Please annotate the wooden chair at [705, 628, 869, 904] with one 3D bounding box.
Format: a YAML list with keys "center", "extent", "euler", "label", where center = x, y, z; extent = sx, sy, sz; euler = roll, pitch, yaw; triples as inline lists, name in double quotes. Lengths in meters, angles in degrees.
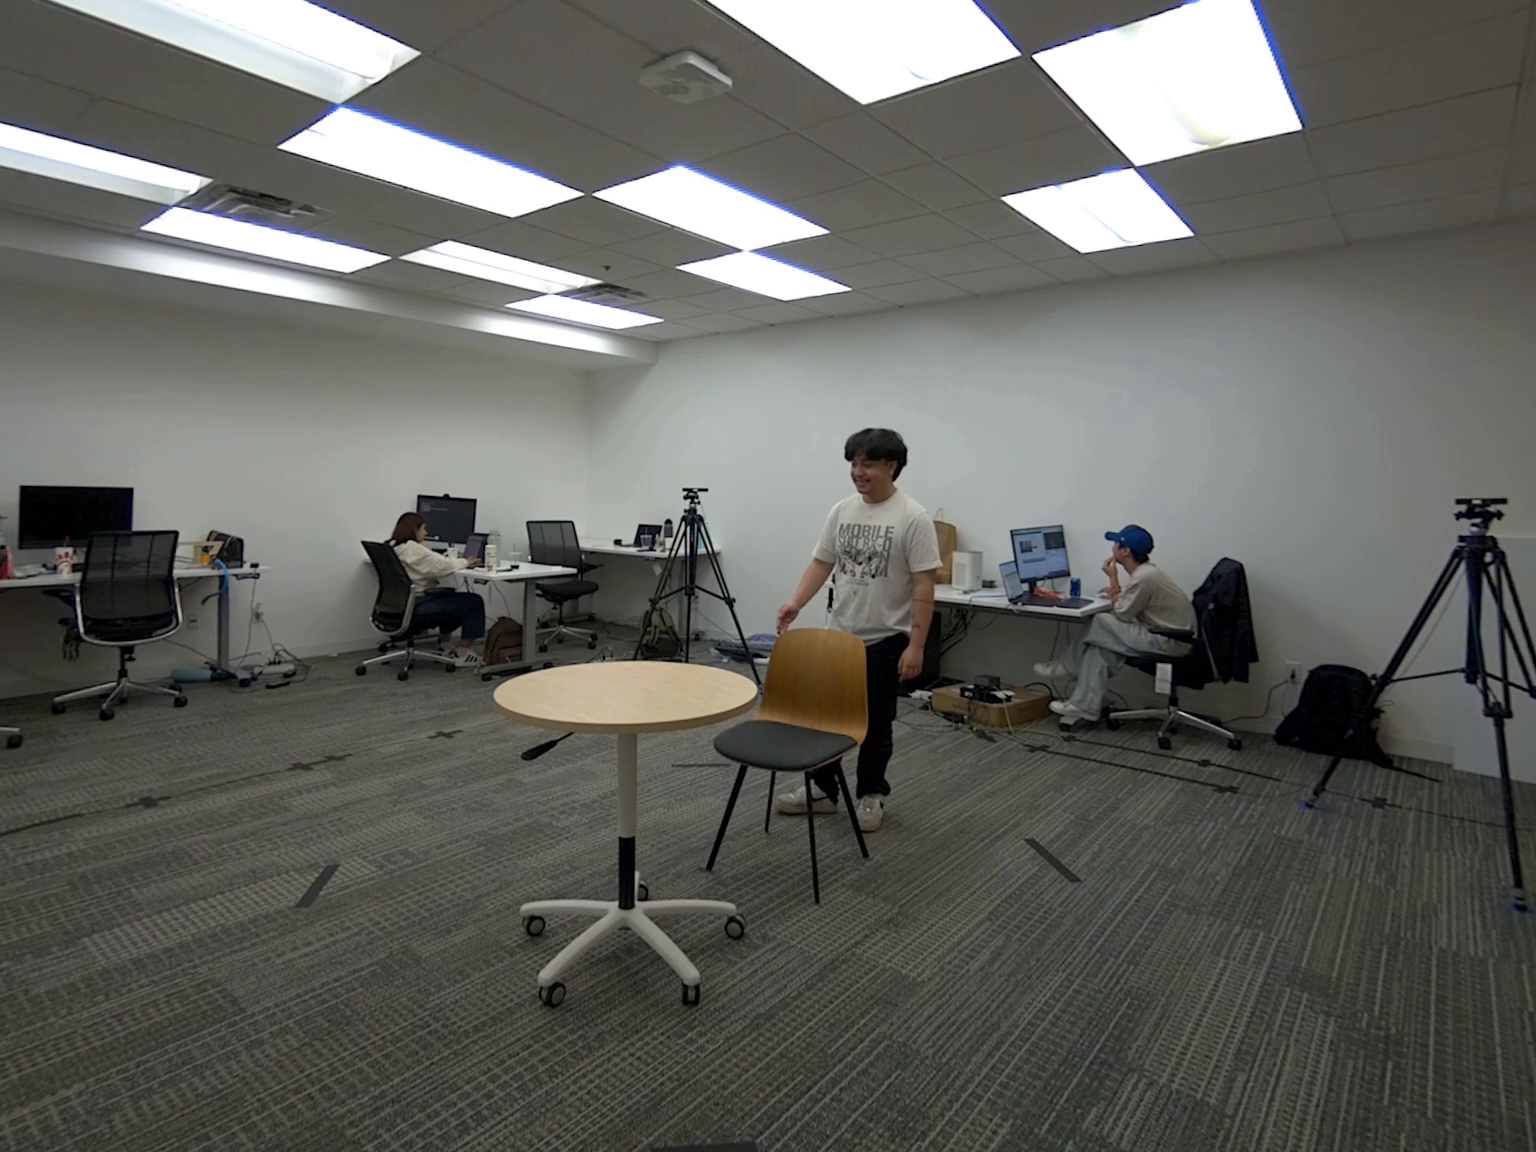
- center: [0.076, 0.644, 3.139]
  extent: [0.493, 0.878, 0.507]
  euler: [4, 0, 31]
  label: "wooden chair"
